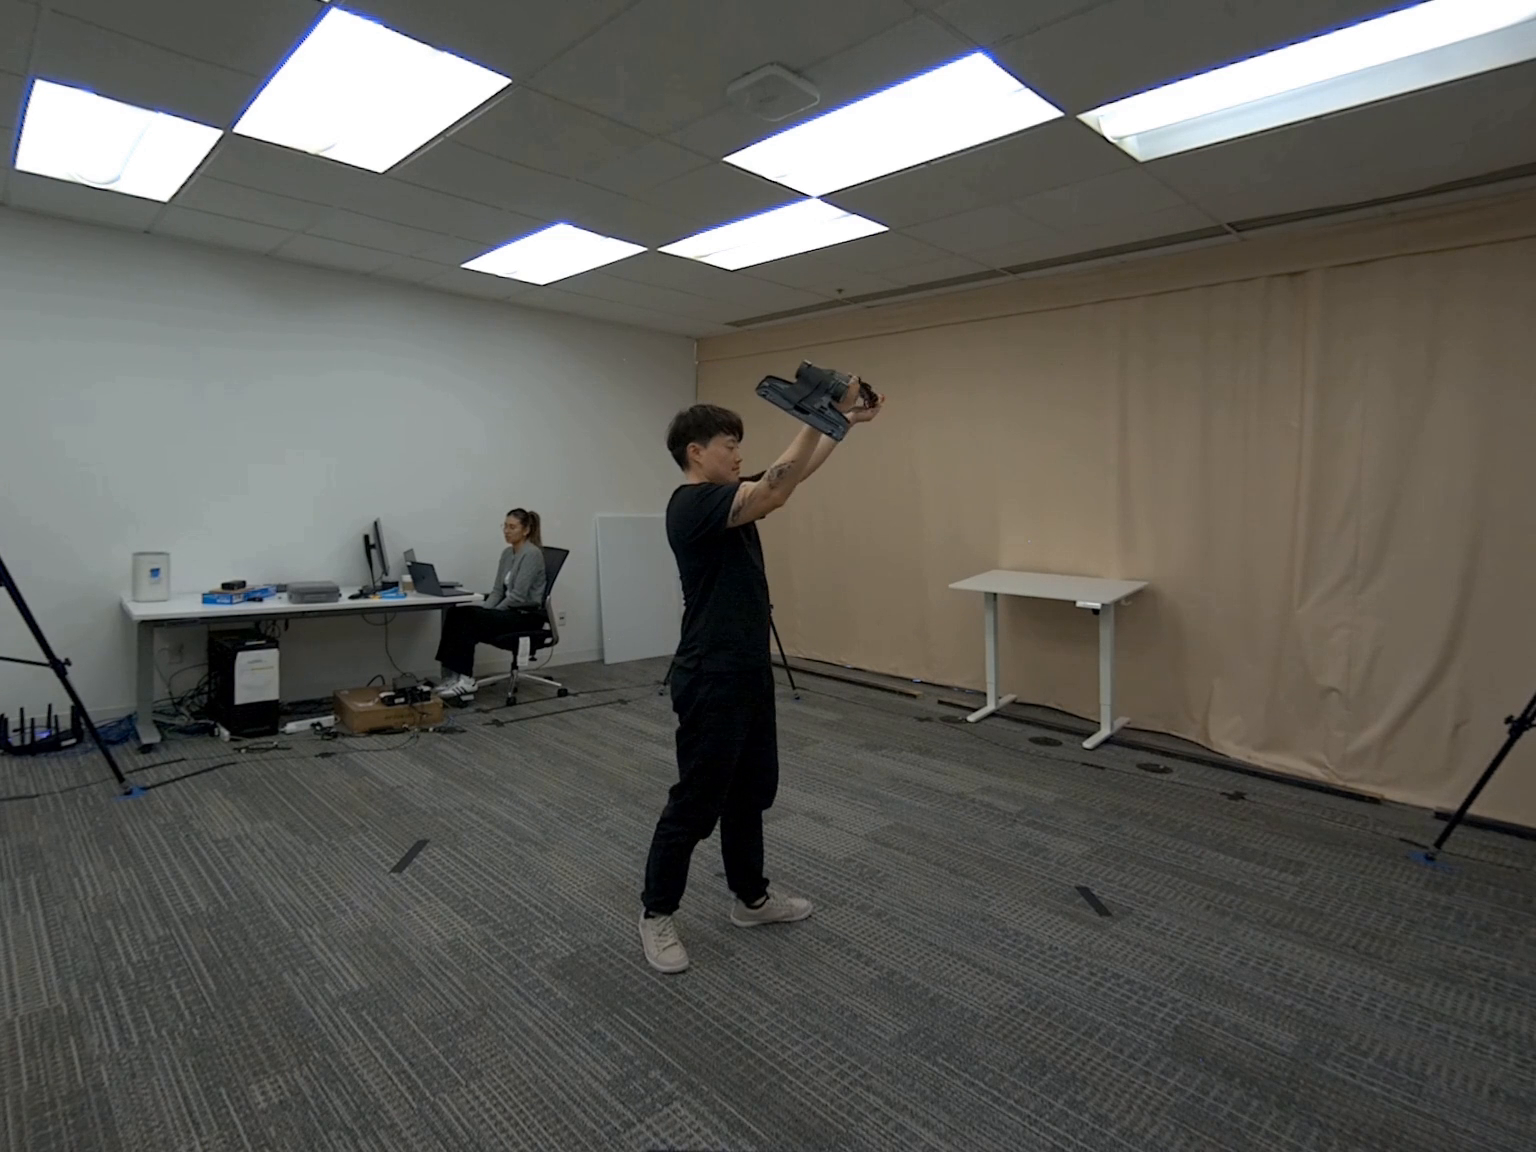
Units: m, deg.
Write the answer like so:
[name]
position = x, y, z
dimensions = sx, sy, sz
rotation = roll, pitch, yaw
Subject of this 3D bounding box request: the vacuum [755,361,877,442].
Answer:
[vacuum]
position = 0.255, -0.546, 2.561
dimensions = 0.255, 0.143, 1.043
rotation = 34, 19, 8
